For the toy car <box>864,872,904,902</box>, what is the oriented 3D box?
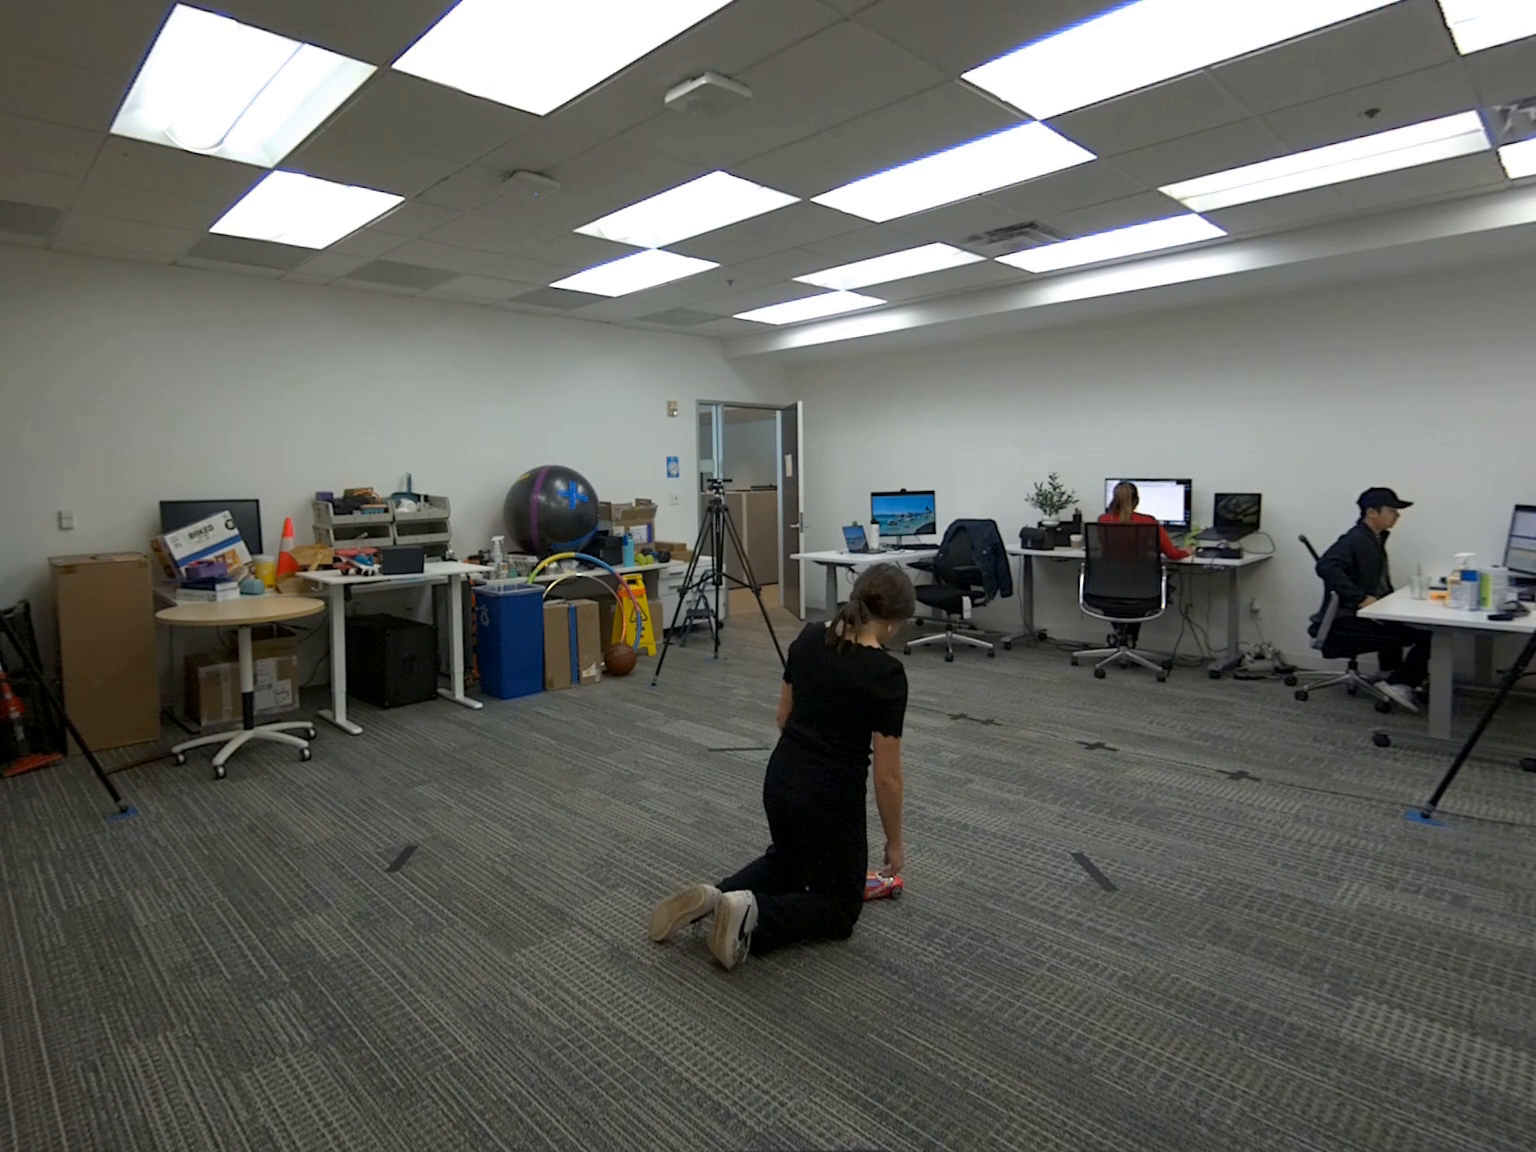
[{"bbox_3d":[0.321,1.036,2.848,0.250,0.083,0.132,8,1,-16],"label":"toy car"}]
